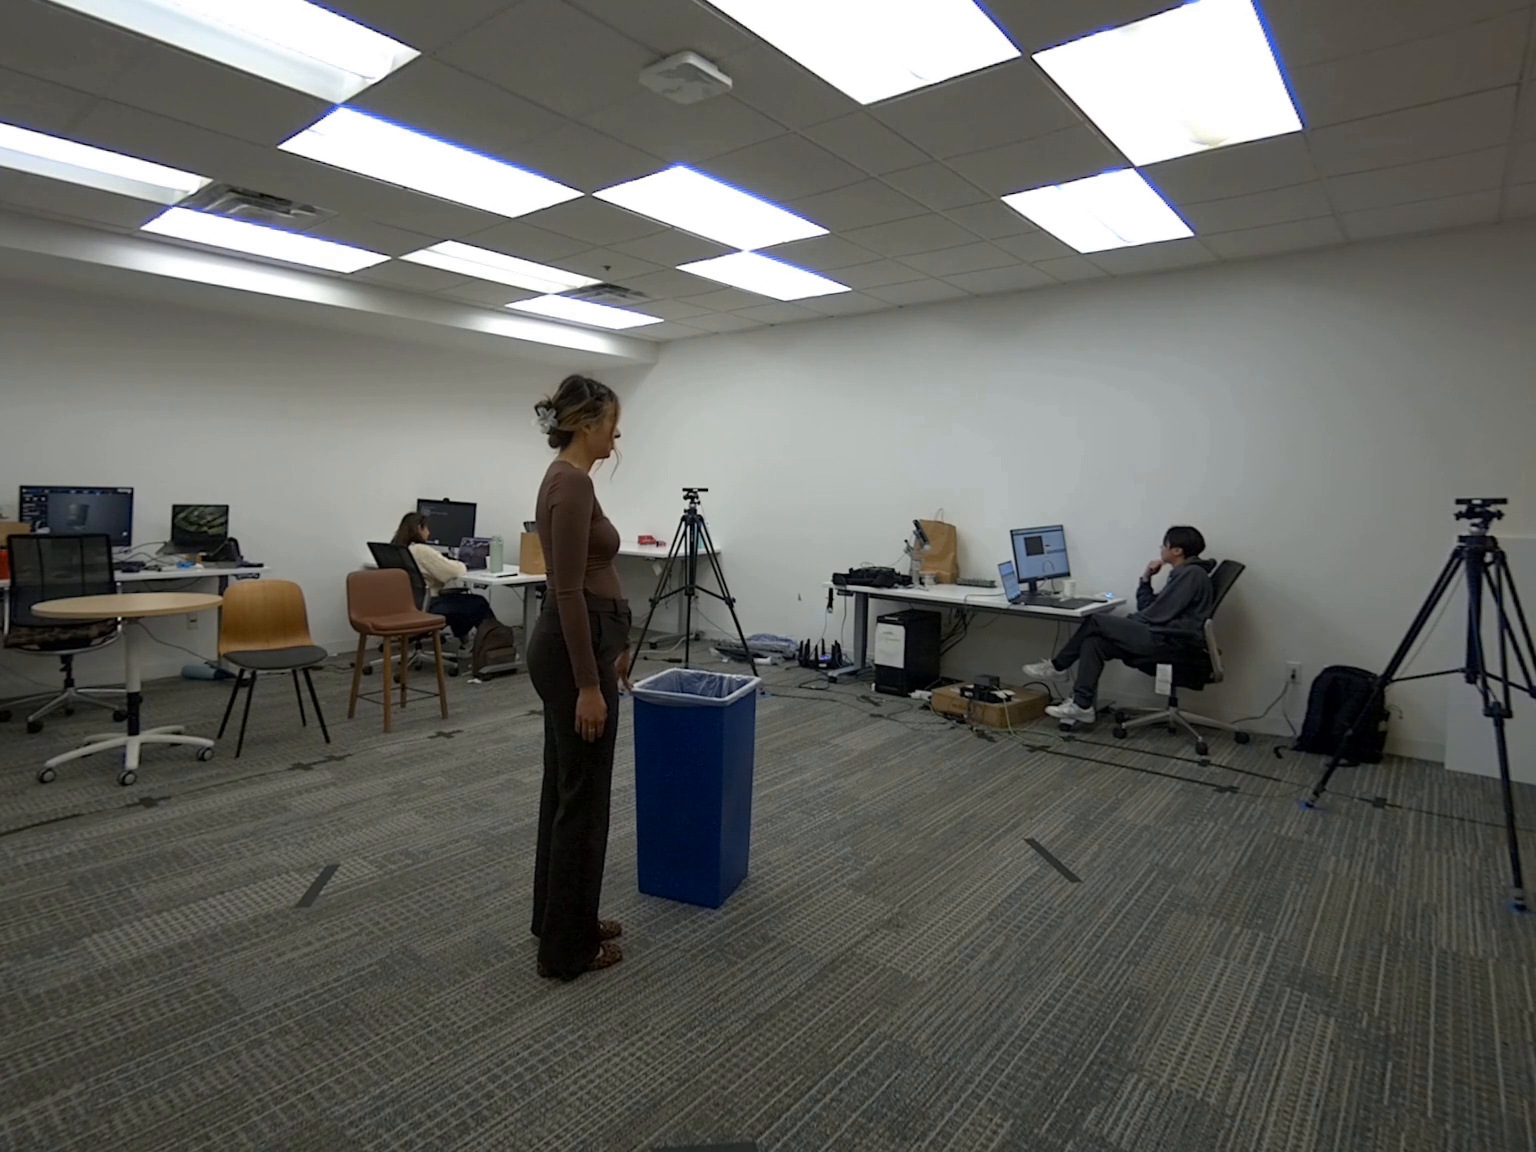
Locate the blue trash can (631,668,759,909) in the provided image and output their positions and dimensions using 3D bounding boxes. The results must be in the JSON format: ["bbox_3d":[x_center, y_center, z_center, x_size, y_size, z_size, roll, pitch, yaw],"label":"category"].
[{"bbox_3d":[-0.262,0.722,2.977,0.387,0.712,0.366,2,3,21],"label":"blue trash can"}]
